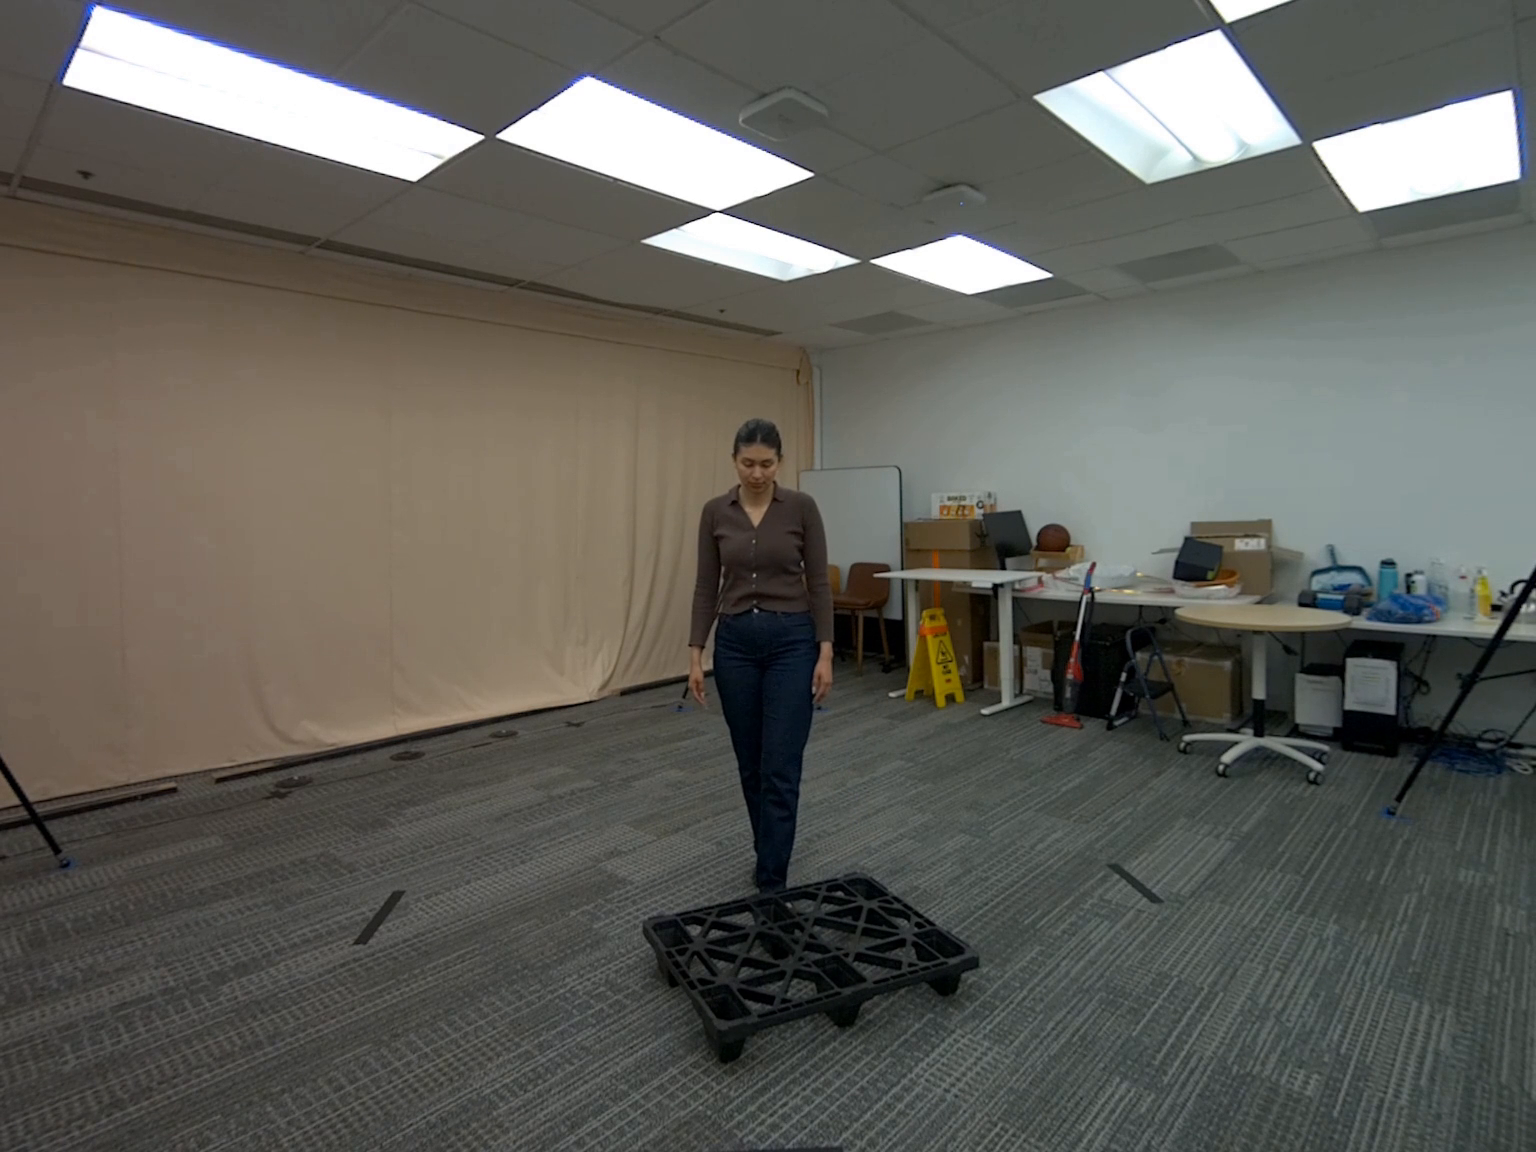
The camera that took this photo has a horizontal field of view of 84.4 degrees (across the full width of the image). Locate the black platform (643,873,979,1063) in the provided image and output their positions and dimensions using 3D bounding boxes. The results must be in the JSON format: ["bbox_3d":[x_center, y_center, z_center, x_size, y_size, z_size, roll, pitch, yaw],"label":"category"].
[{"bbox_3d":[0.106,1.118,2.452,0.787,0.143,0.621,-3,4,-25],"label":"black platform"}]
